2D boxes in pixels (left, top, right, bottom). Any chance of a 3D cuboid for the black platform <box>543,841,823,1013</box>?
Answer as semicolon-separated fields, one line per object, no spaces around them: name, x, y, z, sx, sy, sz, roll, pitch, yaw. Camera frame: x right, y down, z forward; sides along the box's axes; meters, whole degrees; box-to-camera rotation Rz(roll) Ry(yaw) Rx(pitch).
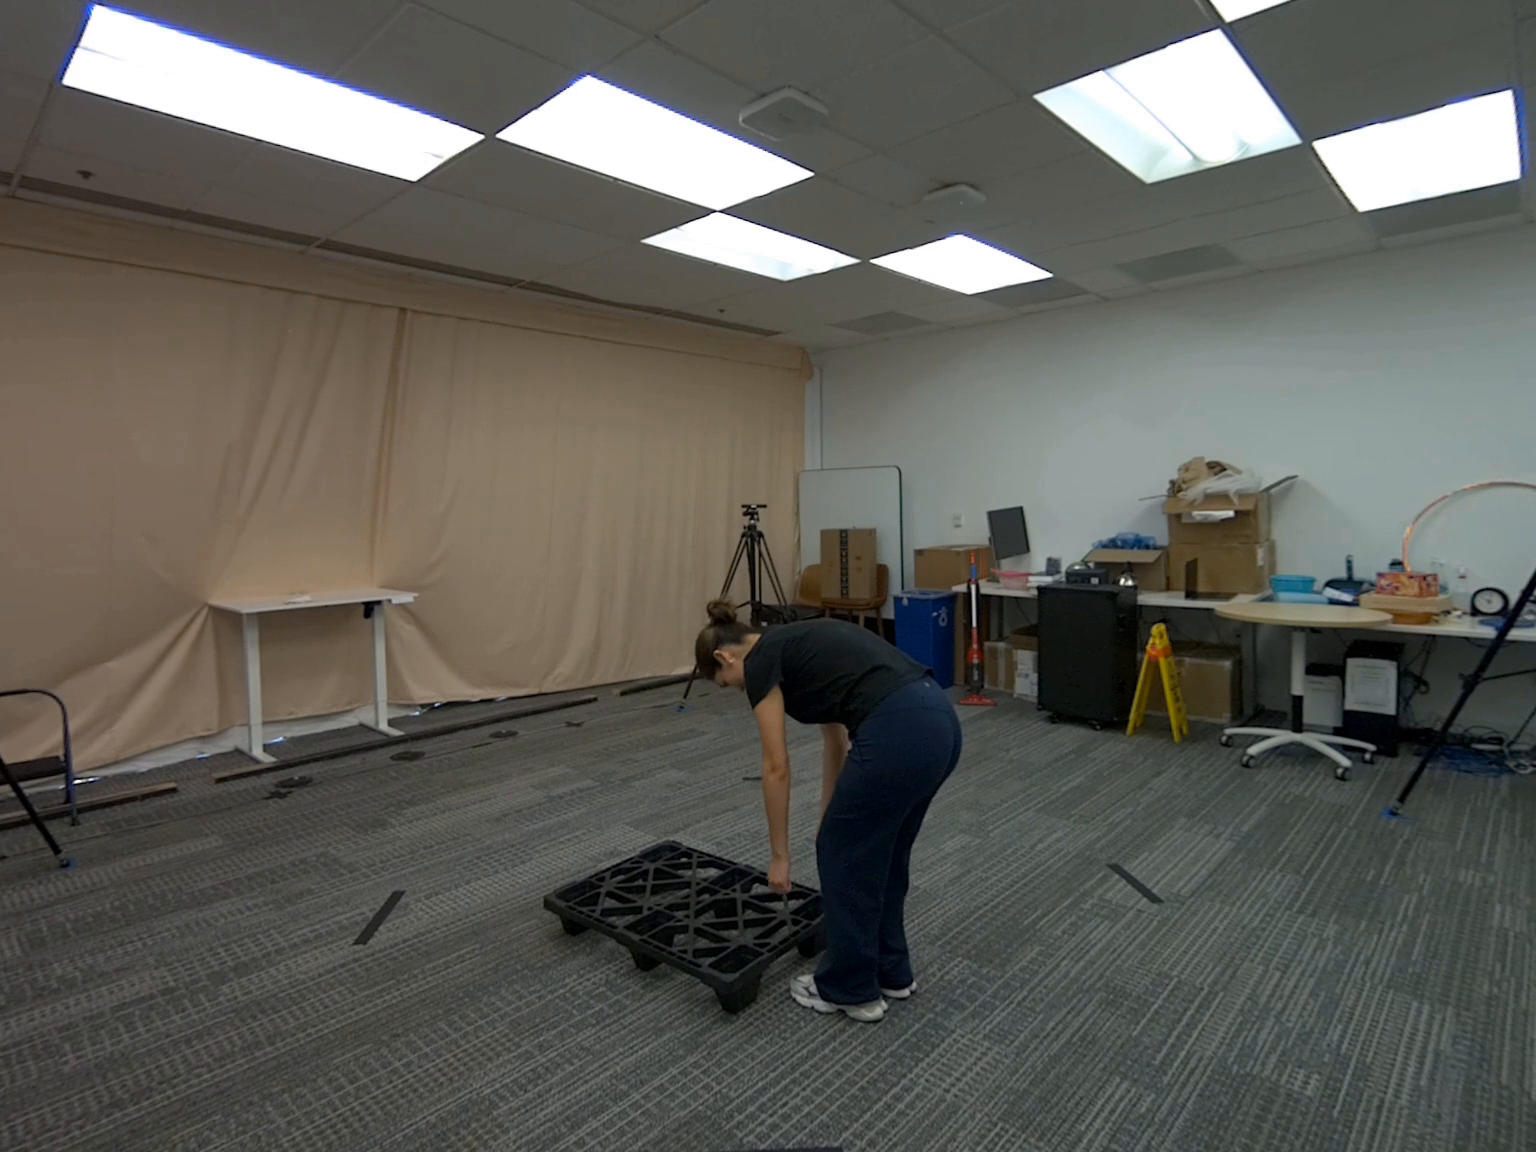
black platform;-0.223;1.104;2.704;0.832;0.143;0.587;2;7;39
